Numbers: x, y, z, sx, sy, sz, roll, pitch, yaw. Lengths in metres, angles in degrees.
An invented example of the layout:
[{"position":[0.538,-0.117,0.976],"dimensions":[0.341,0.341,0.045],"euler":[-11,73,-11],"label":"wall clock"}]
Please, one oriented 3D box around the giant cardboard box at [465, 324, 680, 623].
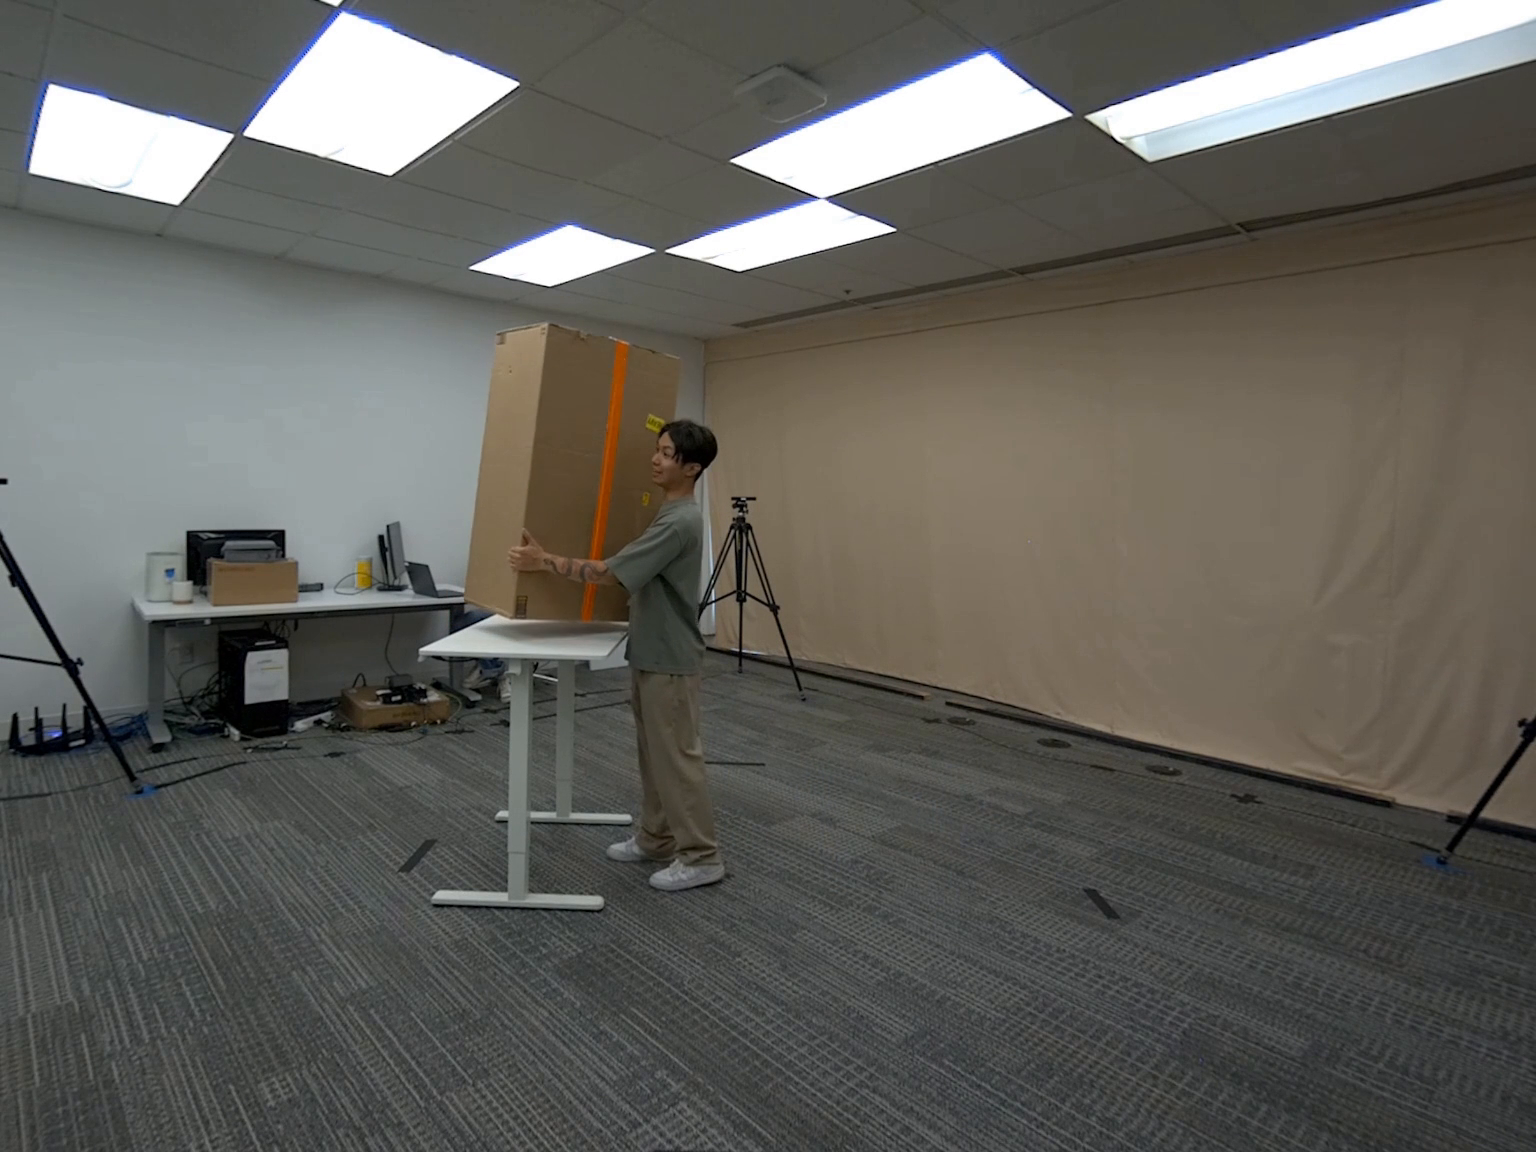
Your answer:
[{"position":[-0.742,-0.367,3.192],"dimensions":[0.563,1.025,0.438],"euler":[6,2,-42],"label":"giant cardboard box"}]
